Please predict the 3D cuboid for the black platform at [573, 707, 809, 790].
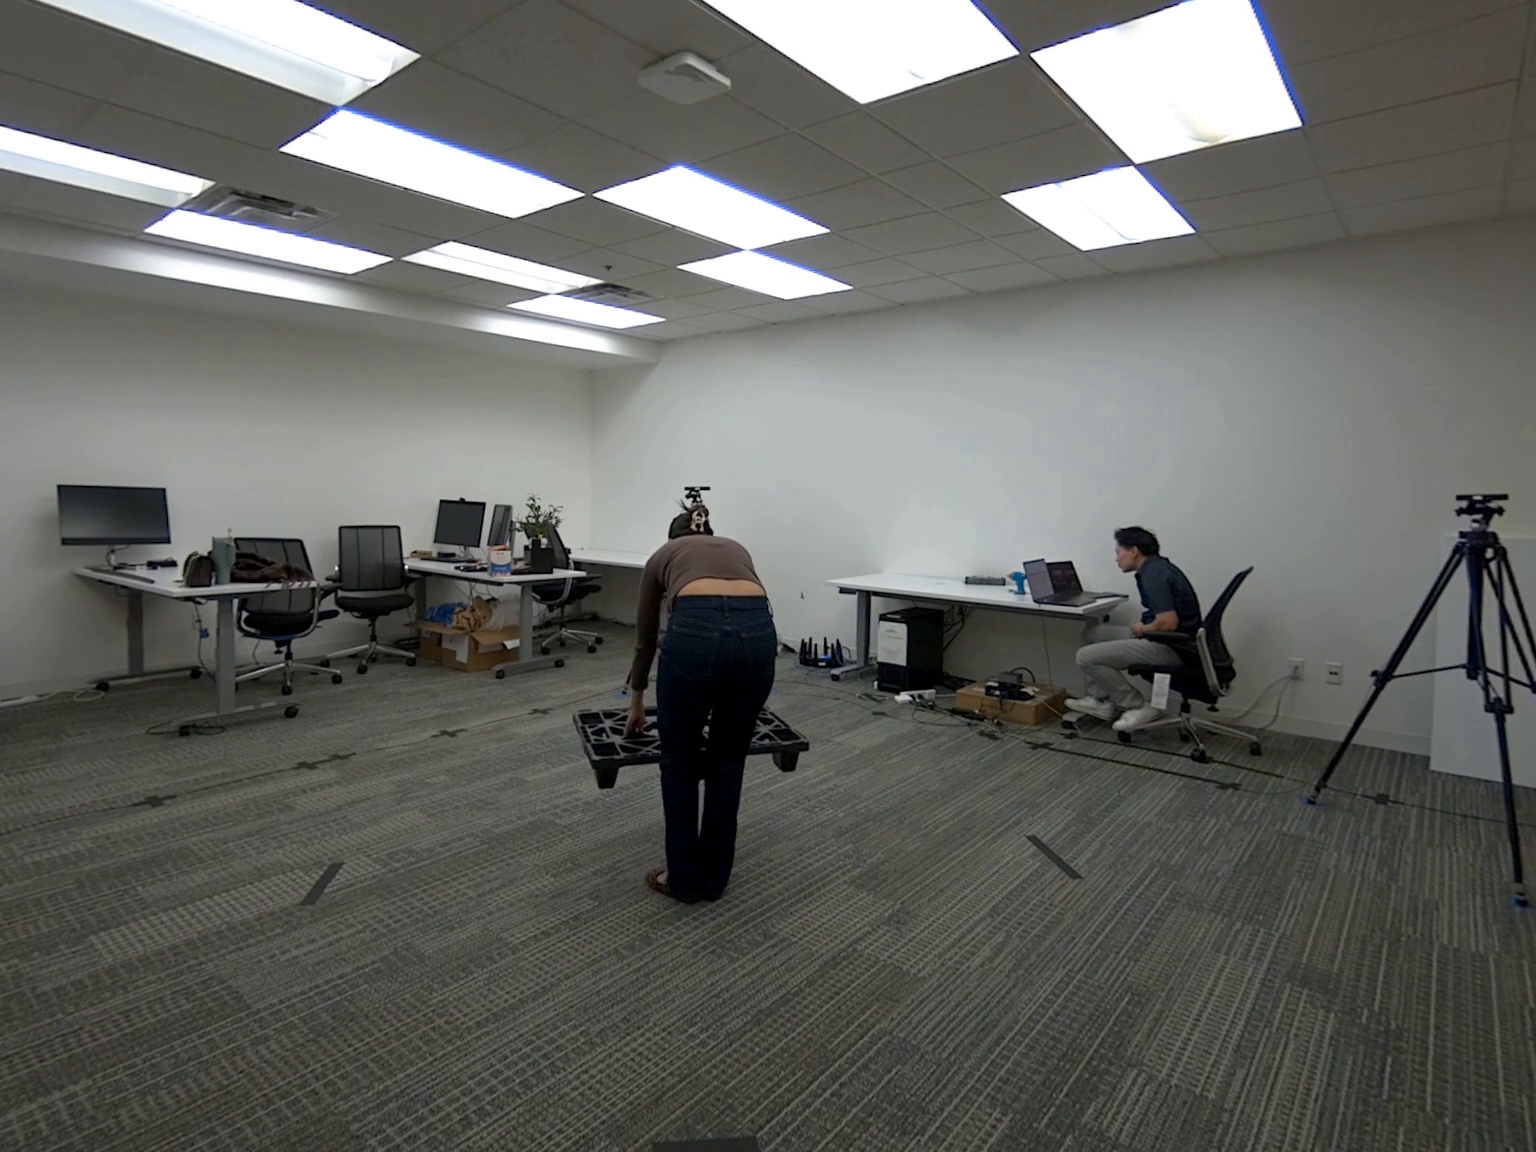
[{"bbox_3d":[-0.326,0.640,3.283,0.792,0.142,0.619,-2,8,-17],"label":"black platform"}]
